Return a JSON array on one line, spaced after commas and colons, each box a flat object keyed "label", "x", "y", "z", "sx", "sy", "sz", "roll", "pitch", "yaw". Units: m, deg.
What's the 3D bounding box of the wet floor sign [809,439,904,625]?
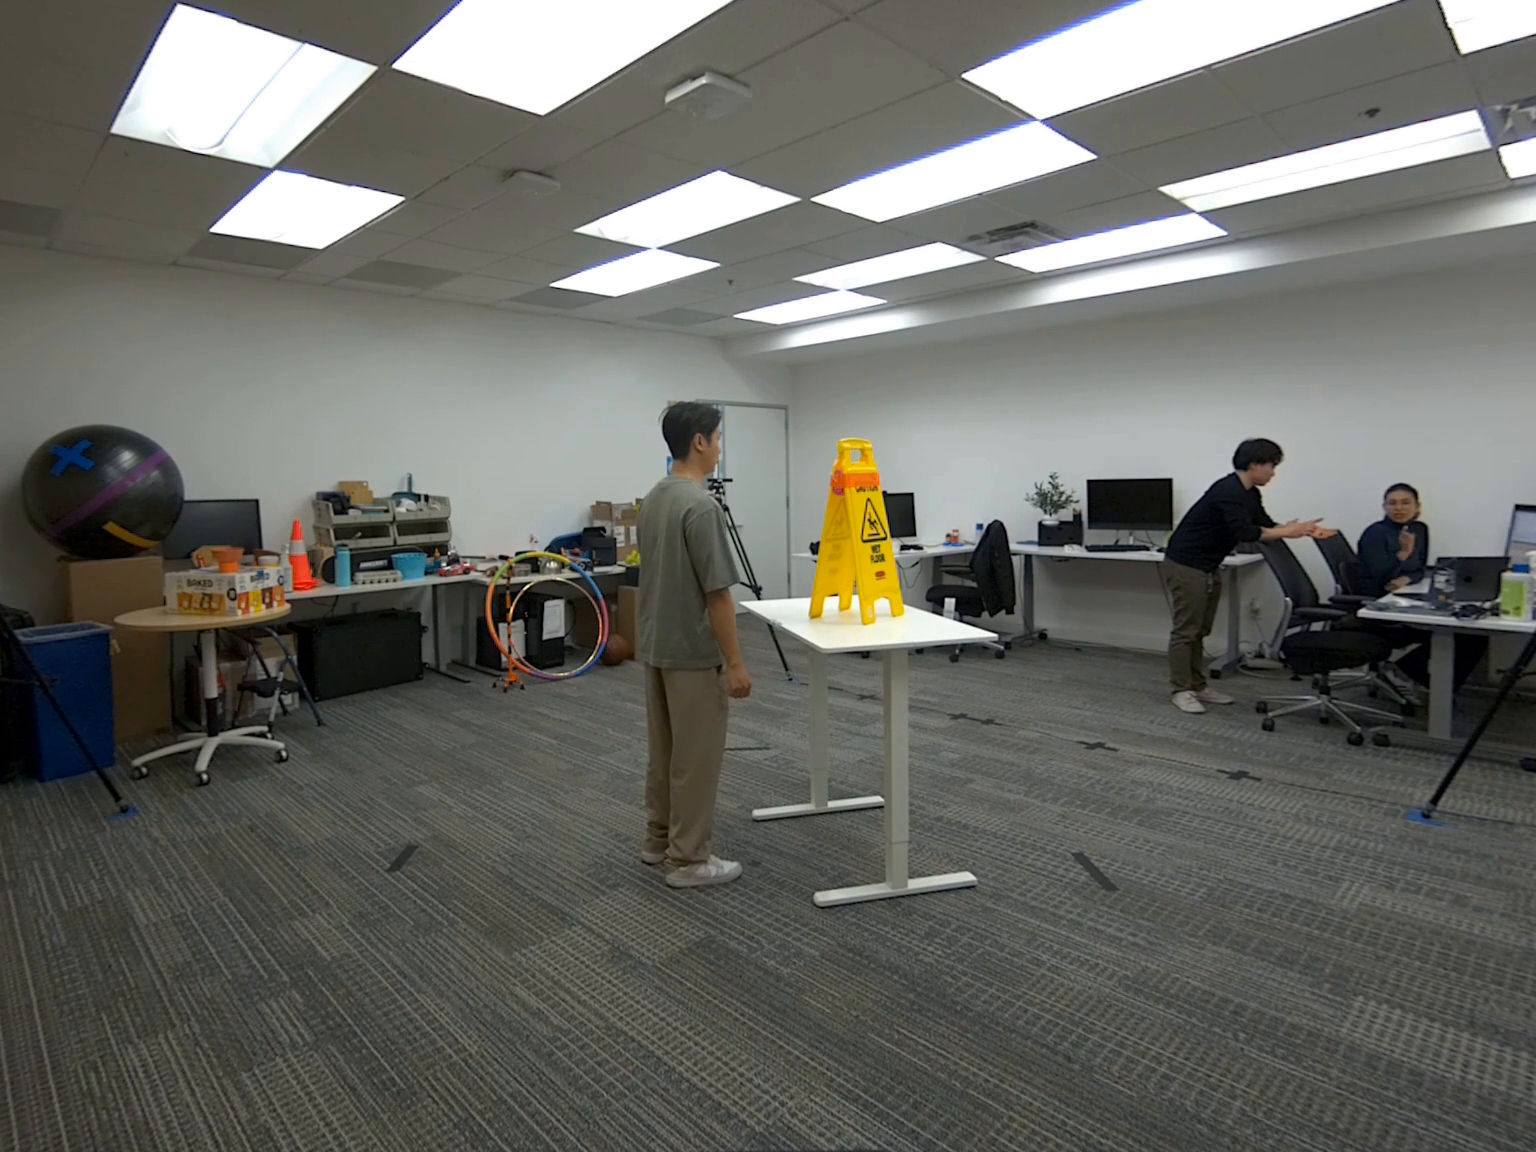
[{"label": "wet floor sign", "x": 0.331, "y": -0.174, "z": 3.132, "sx": 0.298, "sy": 0.643, "sz": 0.275, "roll": 2, "pitch": 6, "yaw": 37}]
